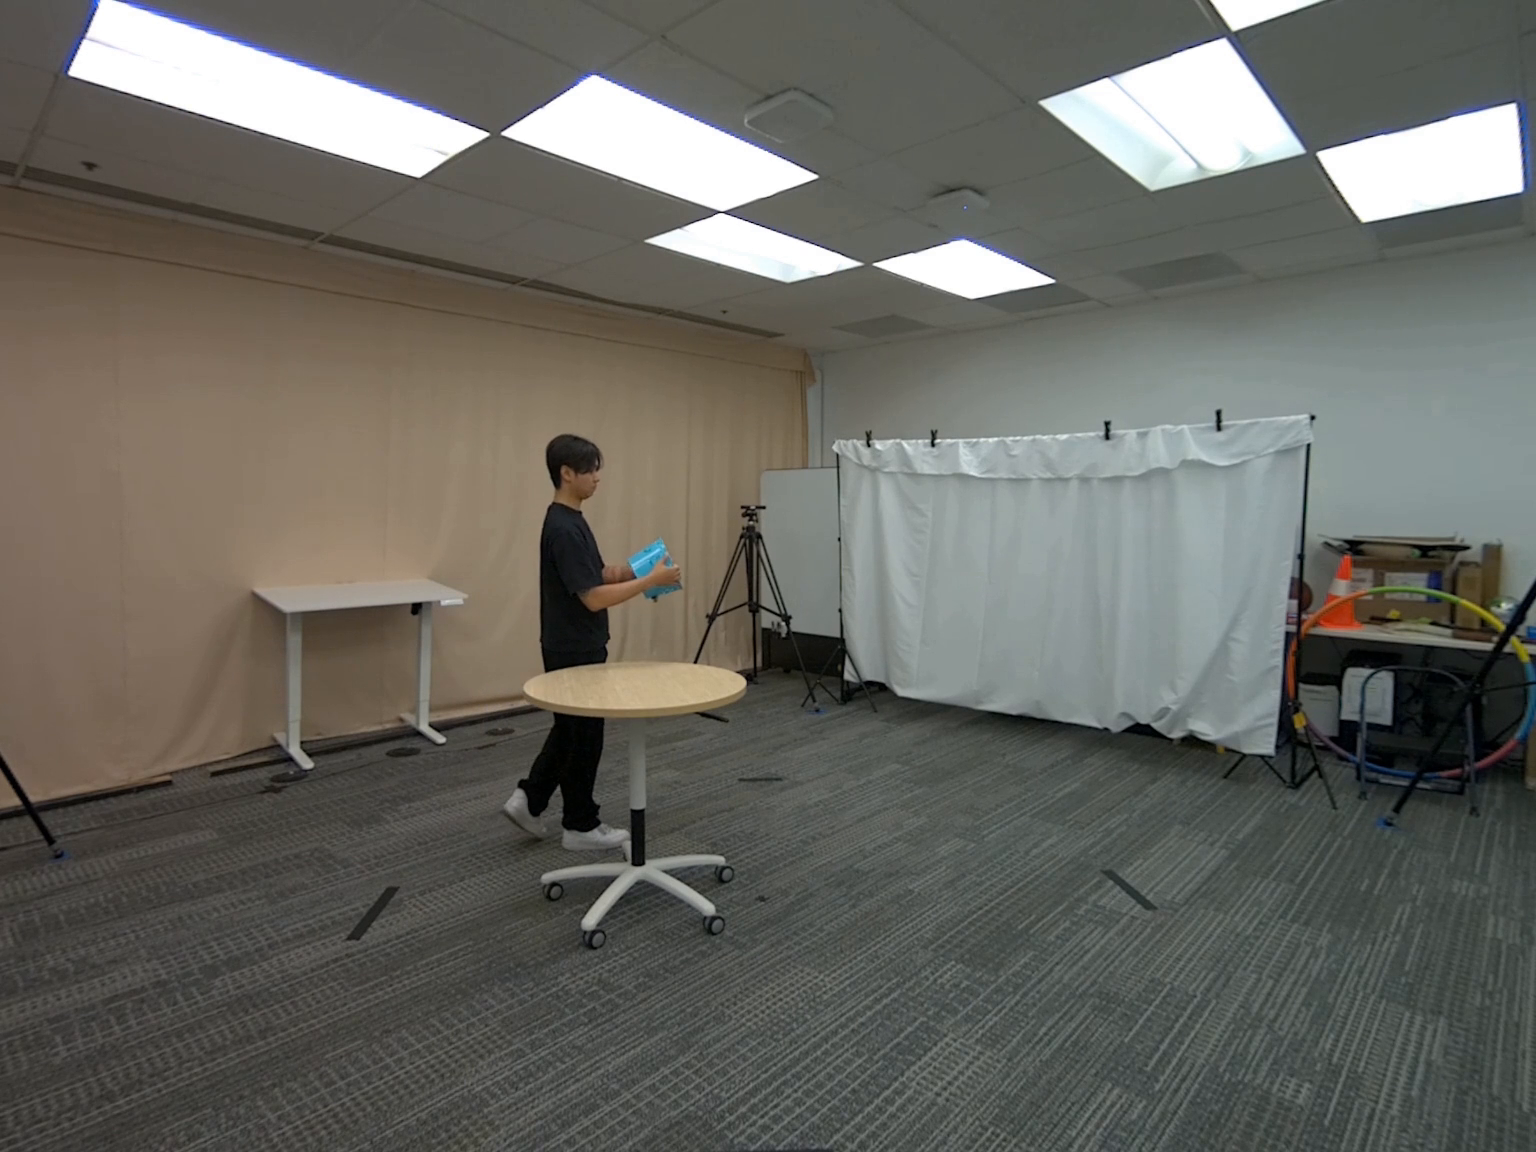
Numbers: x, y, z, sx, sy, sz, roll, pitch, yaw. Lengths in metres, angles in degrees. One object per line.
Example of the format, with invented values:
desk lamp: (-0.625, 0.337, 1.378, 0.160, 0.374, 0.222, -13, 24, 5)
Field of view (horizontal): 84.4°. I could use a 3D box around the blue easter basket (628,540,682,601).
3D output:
blue easter basket: (-0.462, -0.017, 3.410, 0.155, 0.242, 0.246, -23, 7, -6)
